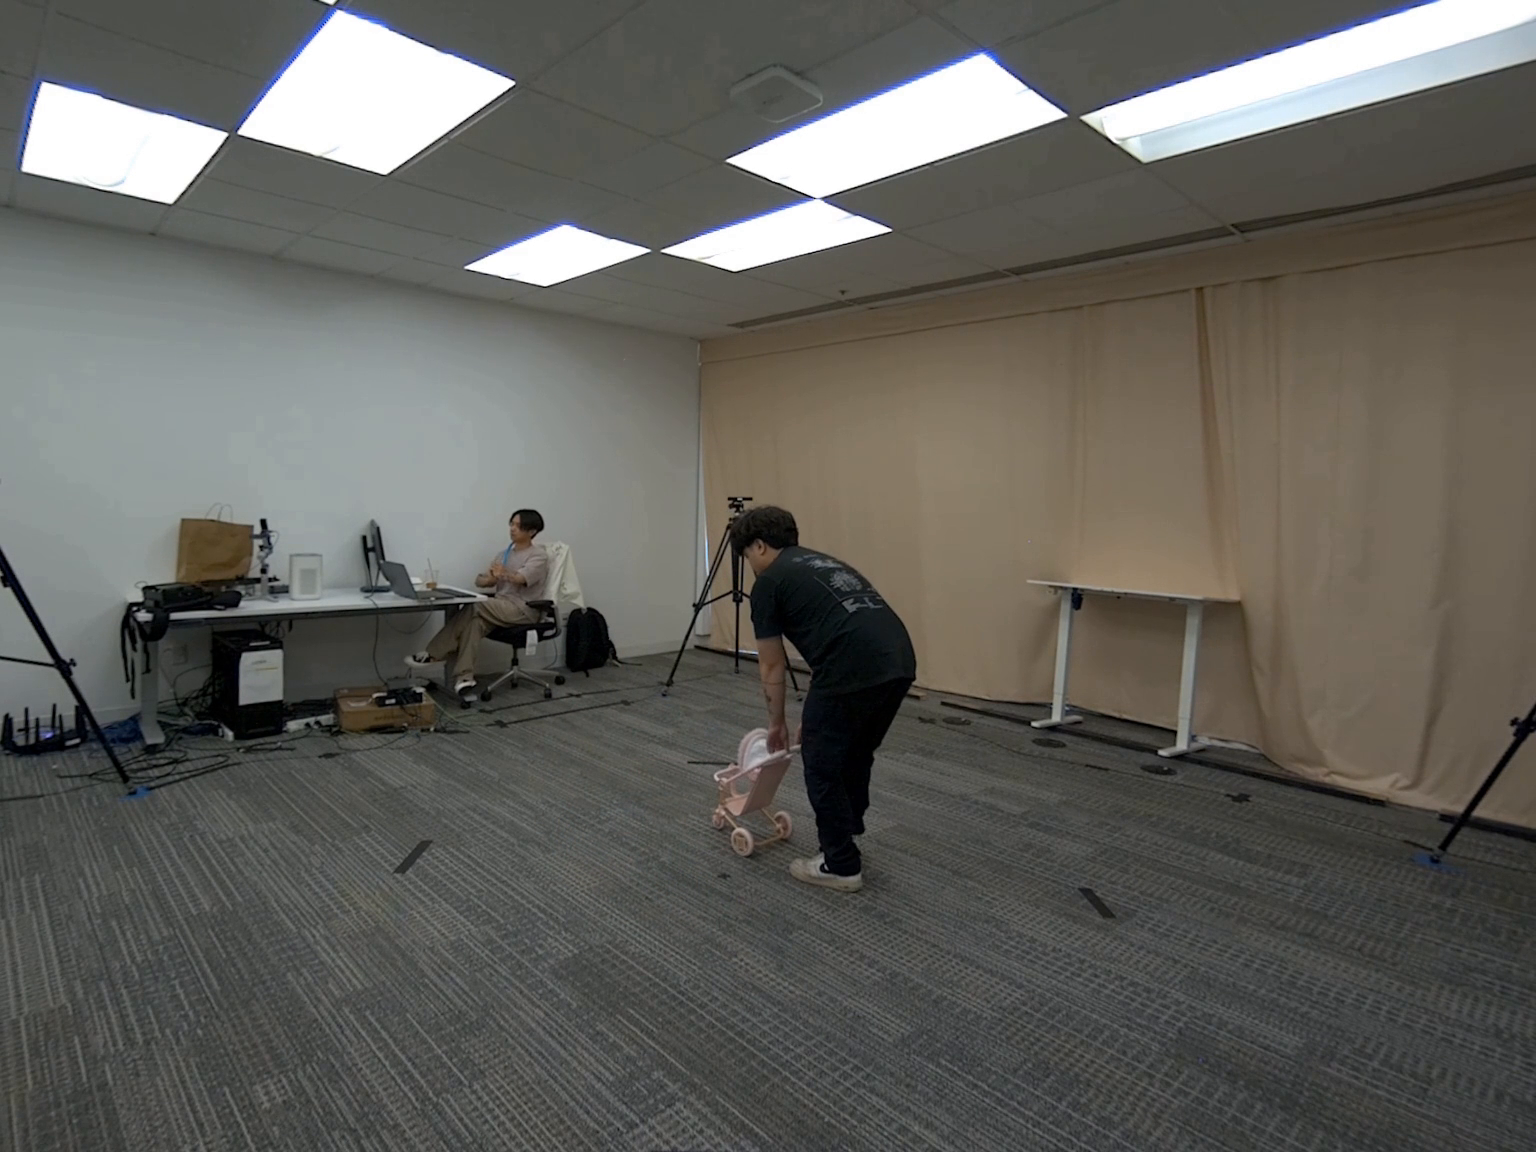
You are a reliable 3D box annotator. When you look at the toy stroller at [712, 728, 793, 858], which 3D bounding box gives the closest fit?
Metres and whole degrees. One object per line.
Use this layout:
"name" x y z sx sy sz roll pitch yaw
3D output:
"toy stroller" -0.067 0.854 3.410 0.275 0.531 0.352 -1 19 -43
